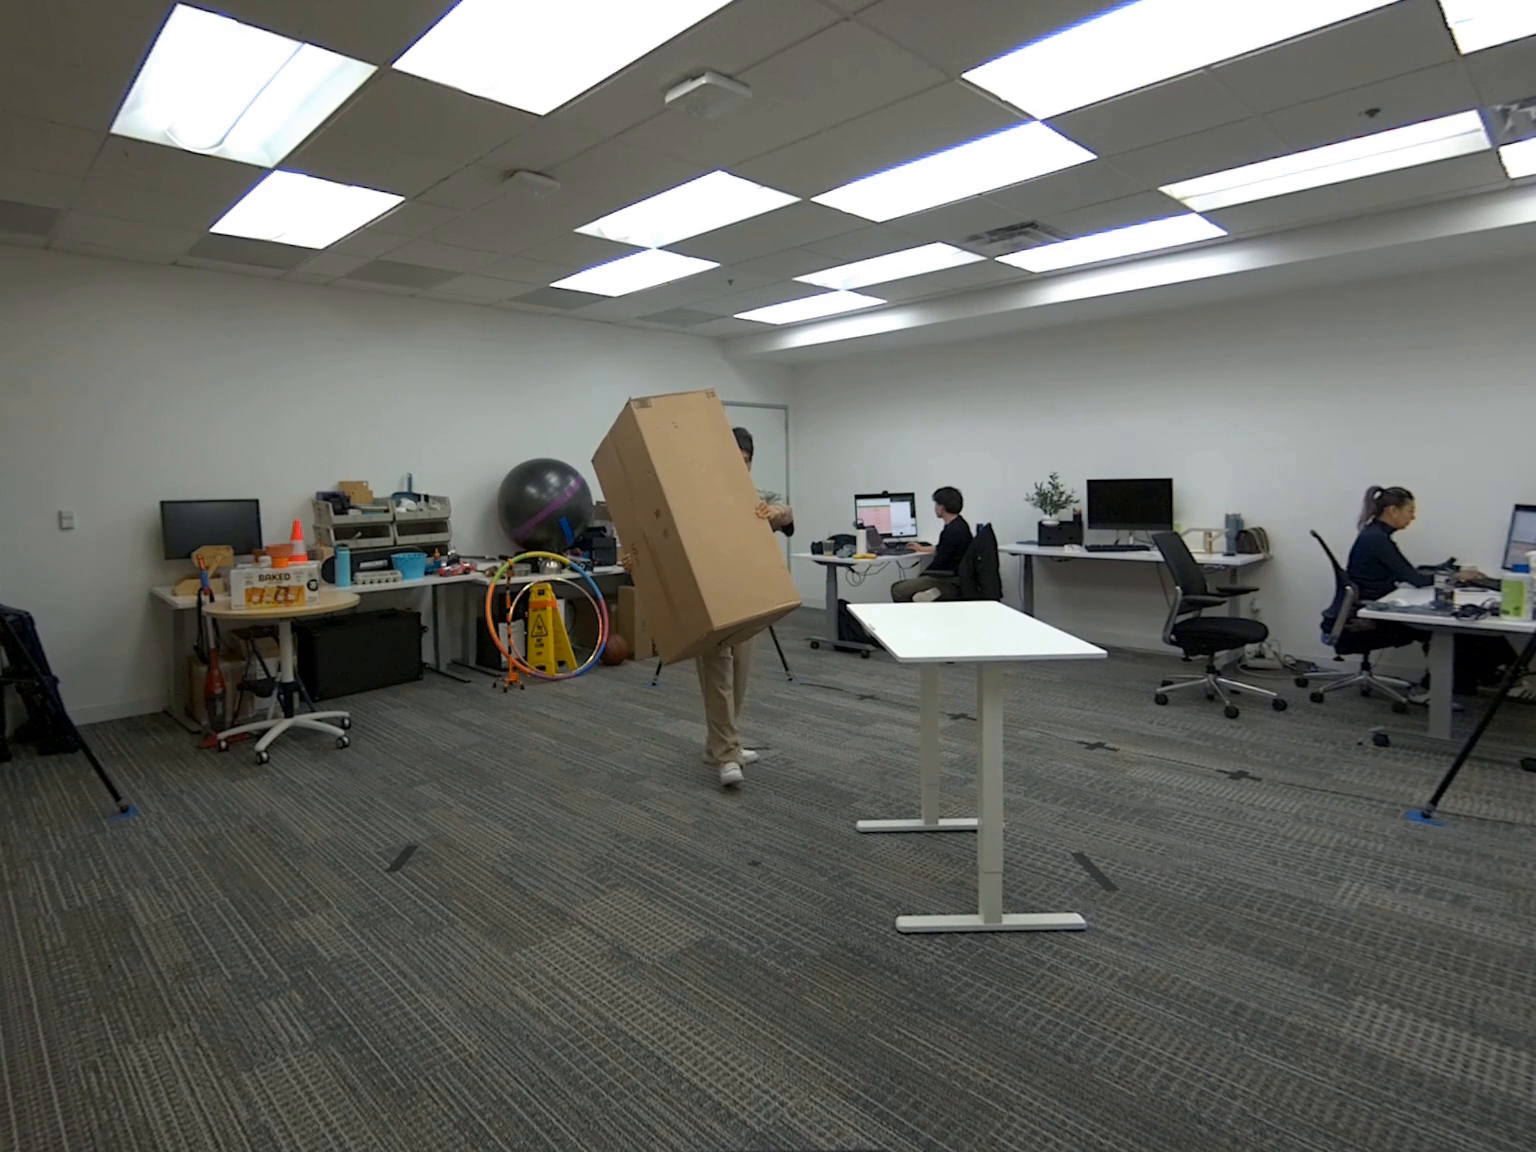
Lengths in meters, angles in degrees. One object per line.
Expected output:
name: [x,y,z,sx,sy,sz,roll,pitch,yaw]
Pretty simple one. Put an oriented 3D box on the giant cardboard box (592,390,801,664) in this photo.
giant cardboard box: [-0.332,-0.205,3.714,0.418,1.043,0.579,-14,-16,-32]
